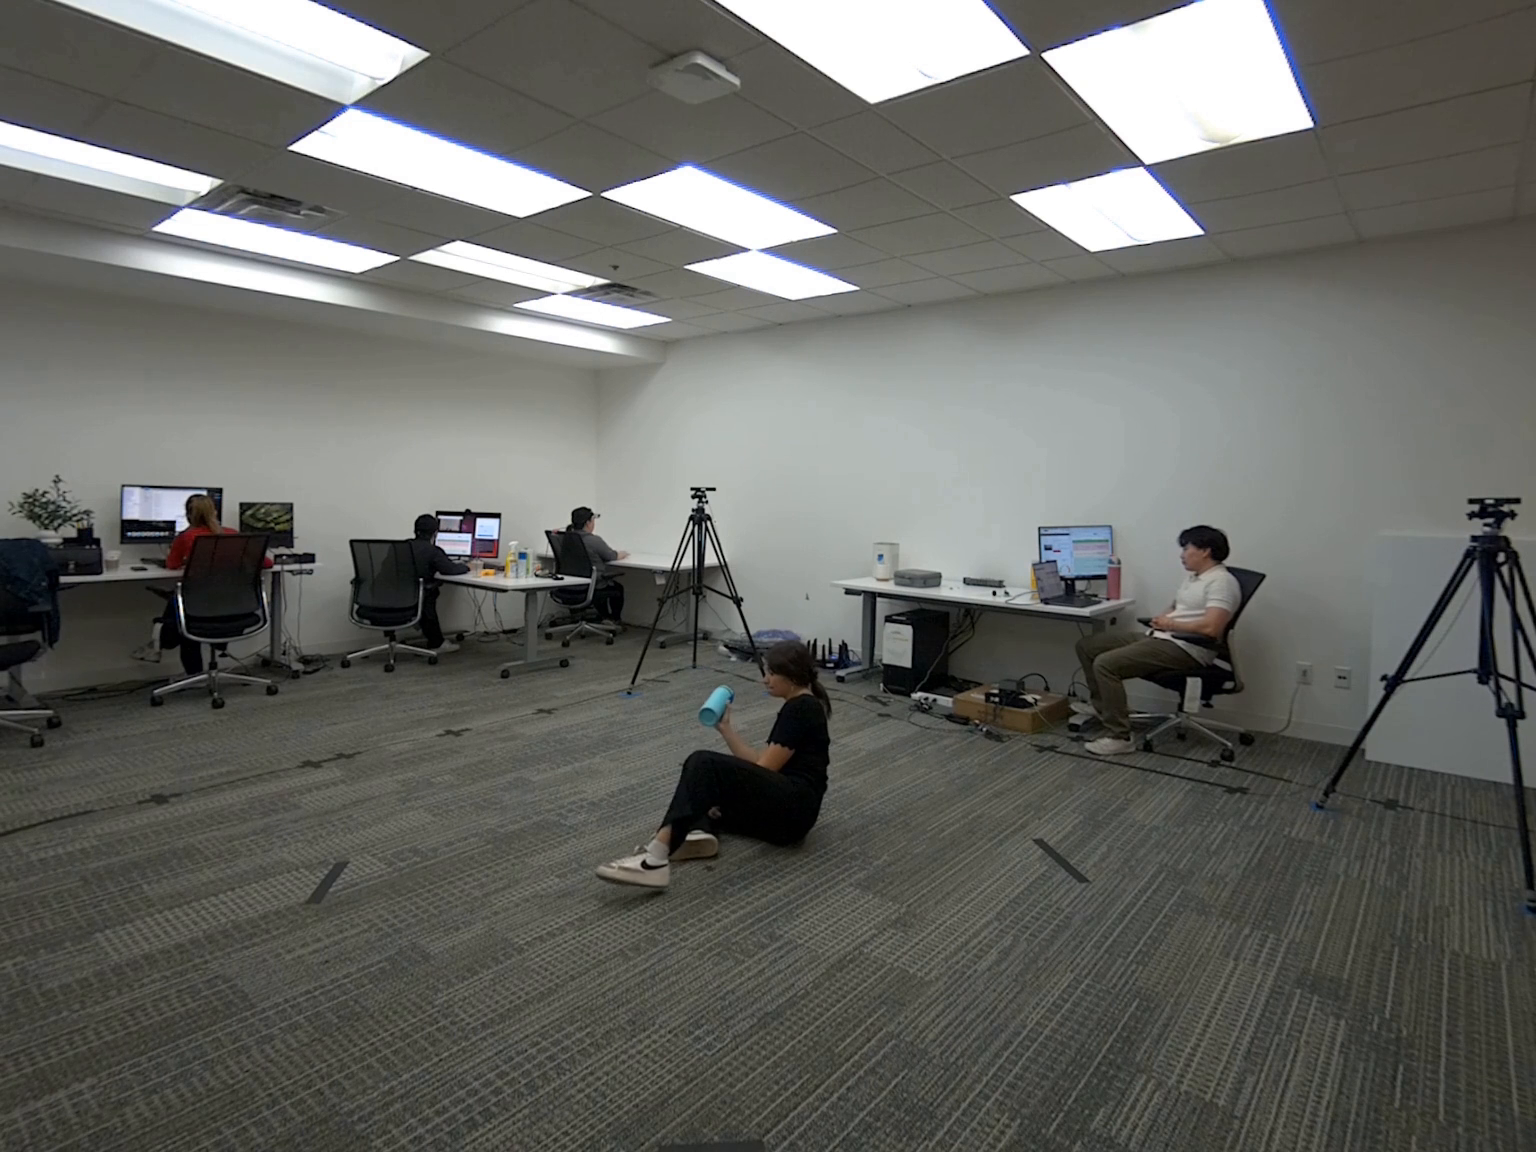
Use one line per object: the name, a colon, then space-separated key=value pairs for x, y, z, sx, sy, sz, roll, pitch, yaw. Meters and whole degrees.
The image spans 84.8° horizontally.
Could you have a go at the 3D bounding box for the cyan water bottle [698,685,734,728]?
cyan water bottle: x=-0.229 y=0.549 z=3.703 sx=0.094 sy=0.091 sz=0.283 roll=2 pitch=15 yaw=13
